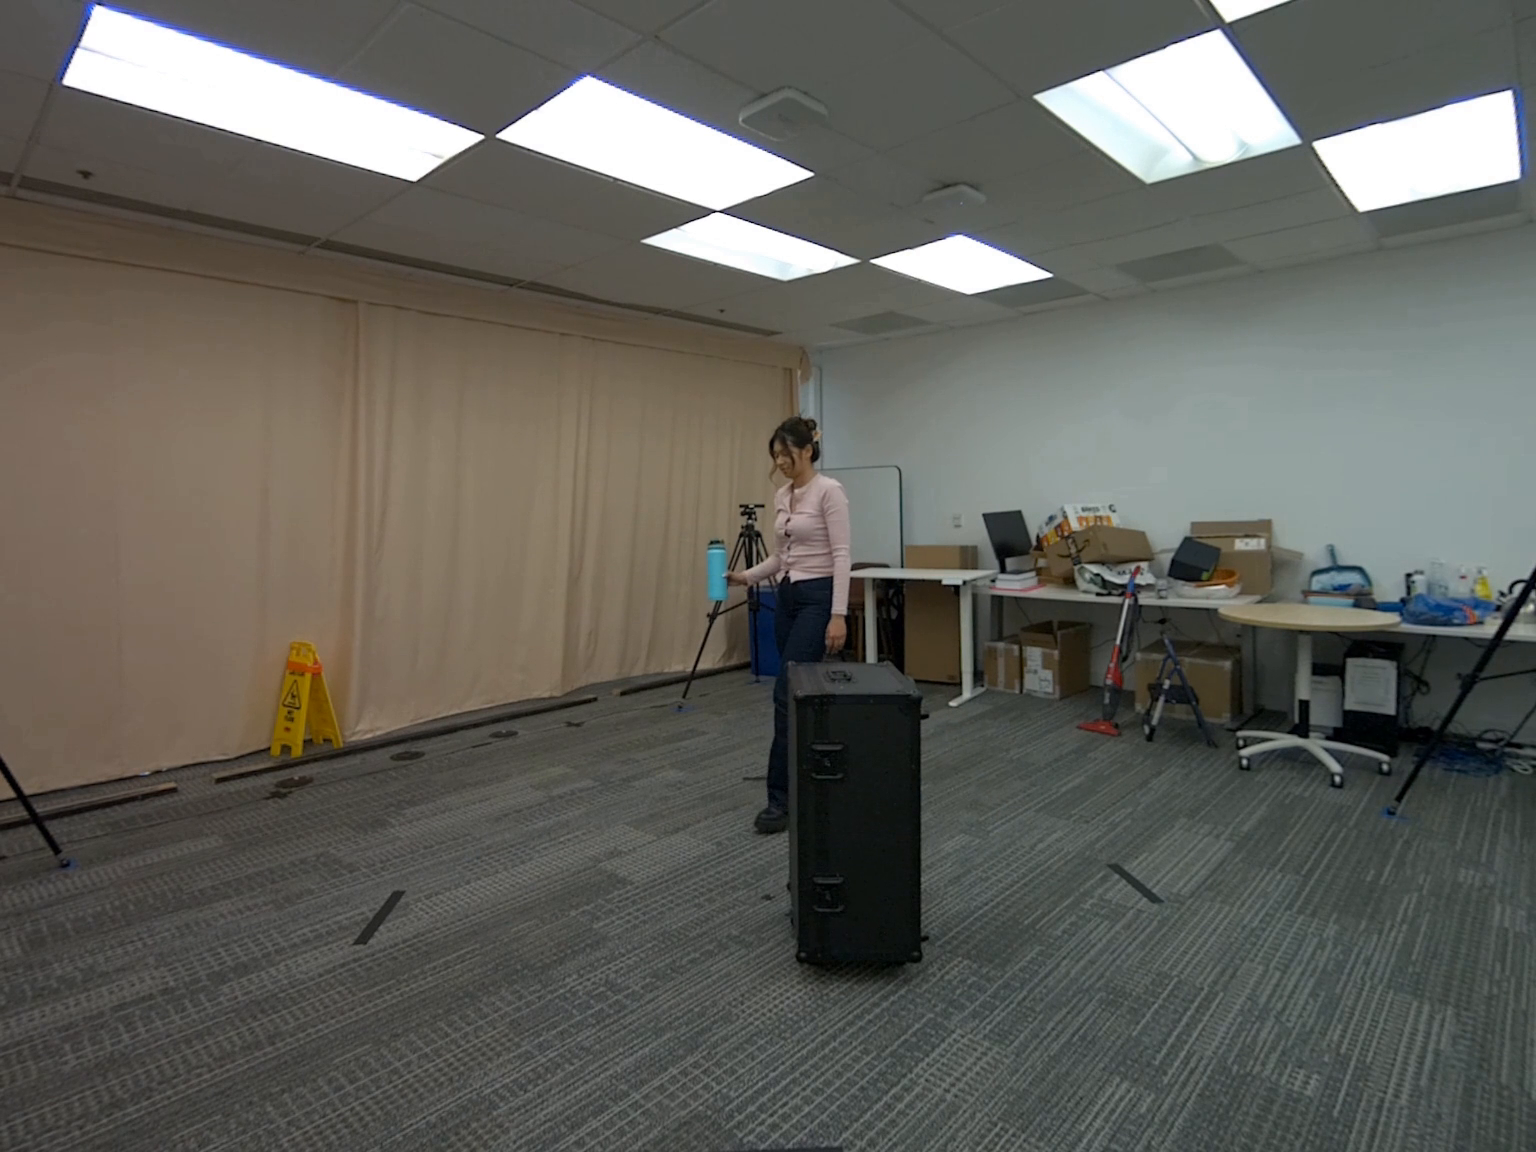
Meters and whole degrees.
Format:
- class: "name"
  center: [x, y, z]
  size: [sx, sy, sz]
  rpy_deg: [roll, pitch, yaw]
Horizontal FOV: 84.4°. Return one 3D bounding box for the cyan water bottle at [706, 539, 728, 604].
- class: "cyan water bottle"
  center: [-0.223, -0.032, 3.796]
  size: [0.092, 0.284, 0.092]
  rpy_deg: [-1, -4, -2]
